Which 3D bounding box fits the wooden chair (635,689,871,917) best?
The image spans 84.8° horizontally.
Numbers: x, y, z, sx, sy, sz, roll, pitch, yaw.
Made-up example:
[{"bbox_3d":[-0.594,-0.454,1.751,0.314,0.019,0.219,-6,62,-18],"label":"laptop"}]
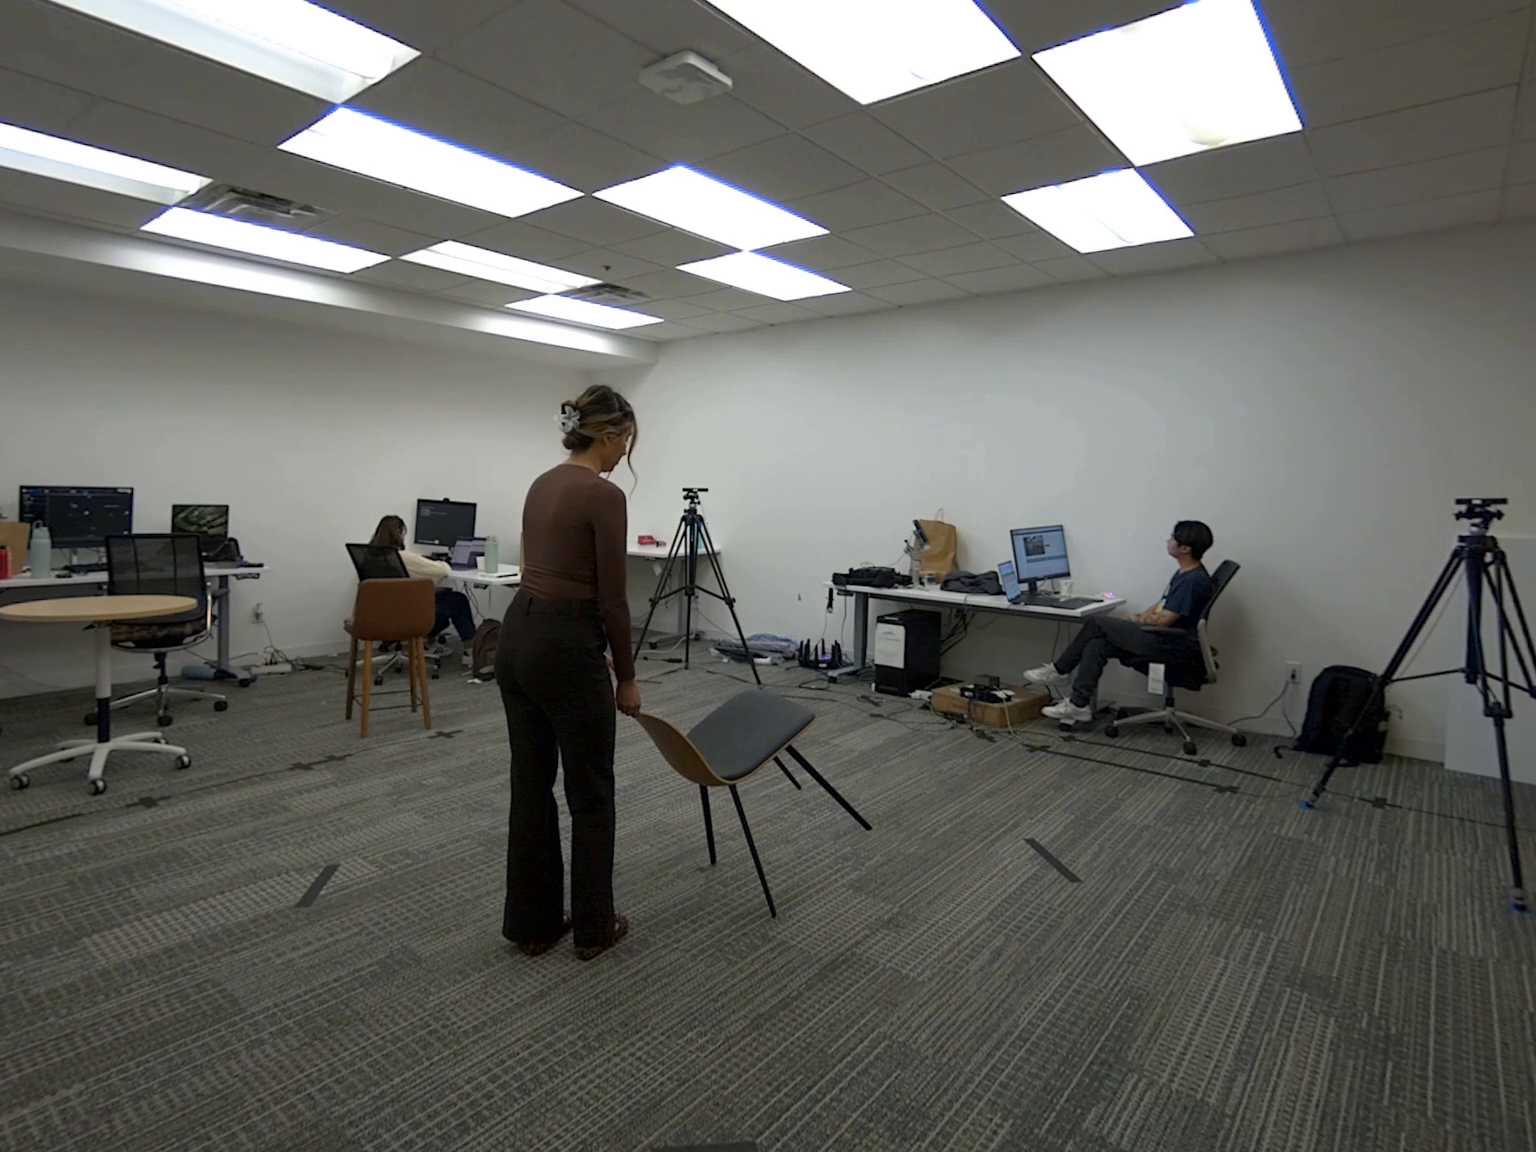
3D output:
[{"bbox_3d":[-0.111,0.601,2.924,0.520,0.857,0.492,-38,20,-21],"label":"wooden chair"}]
